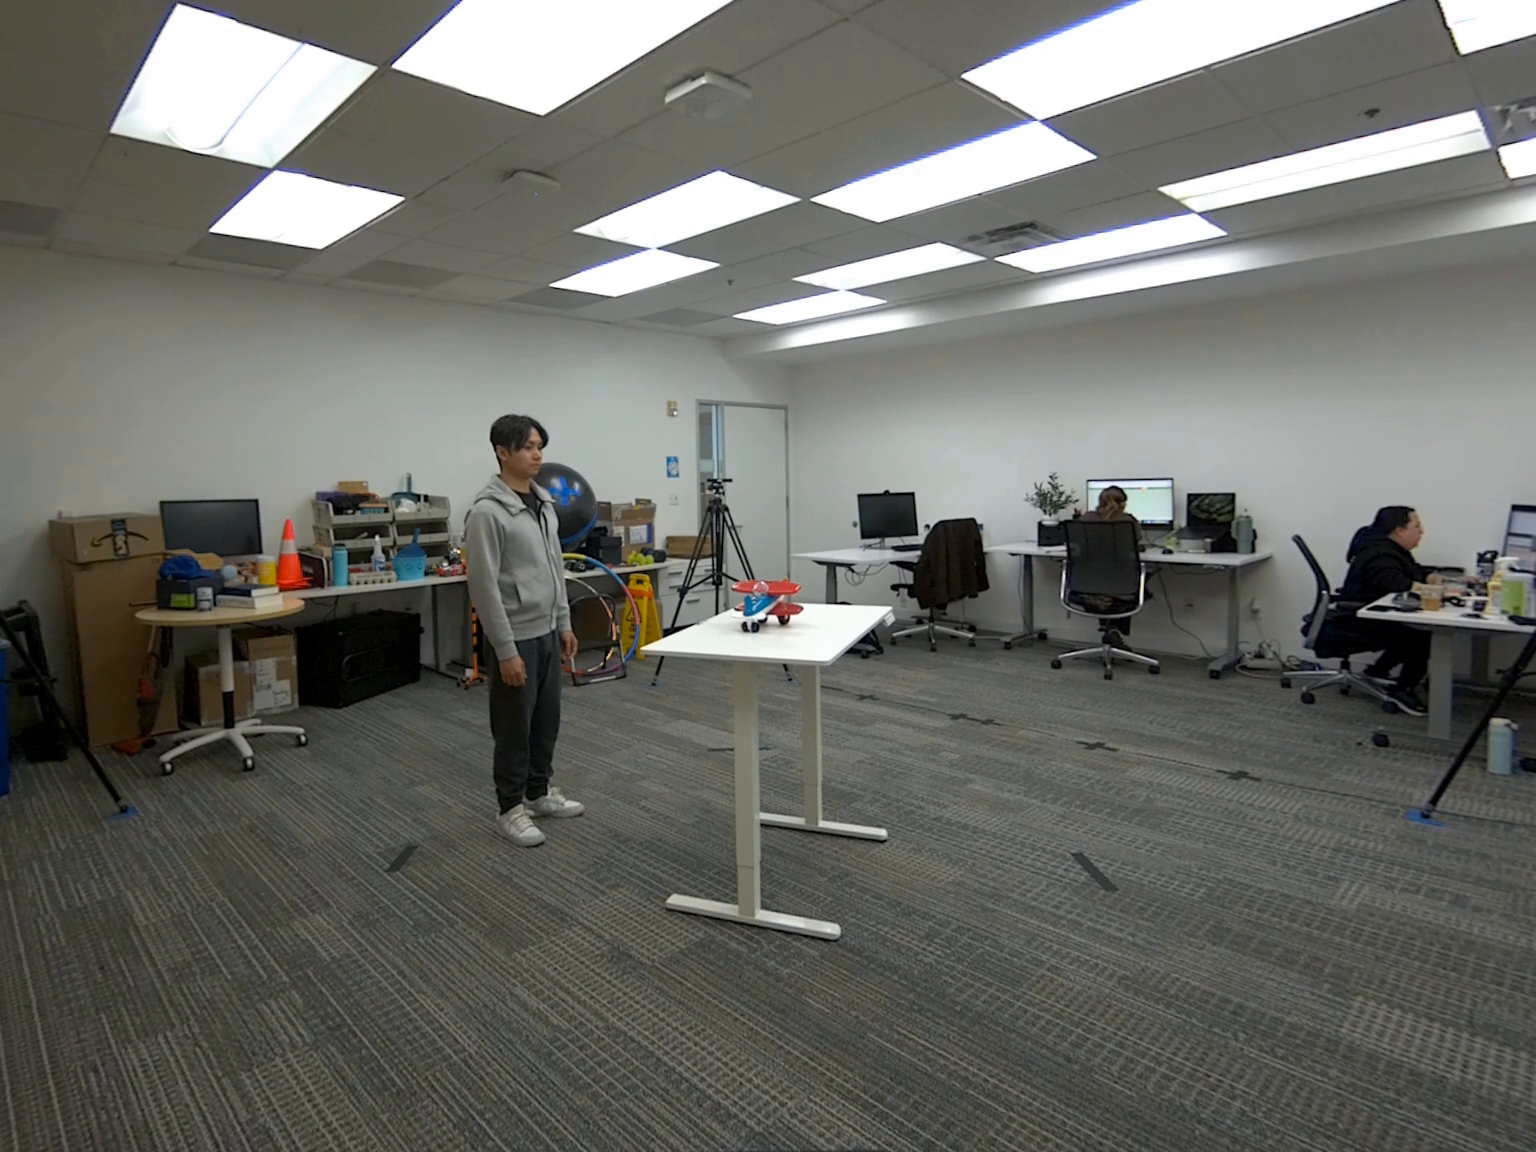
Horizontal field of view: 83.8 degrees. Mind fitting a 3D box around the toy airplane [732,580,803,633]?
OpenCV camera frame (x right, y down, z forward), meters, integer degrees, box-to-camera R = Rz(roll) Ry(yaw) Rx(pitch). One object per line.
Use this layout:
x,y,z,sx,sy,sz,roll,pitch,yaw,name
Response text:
0.000,0.101,2.962,0.251,0.156,0.260,-2,5,-1,toy airplane
